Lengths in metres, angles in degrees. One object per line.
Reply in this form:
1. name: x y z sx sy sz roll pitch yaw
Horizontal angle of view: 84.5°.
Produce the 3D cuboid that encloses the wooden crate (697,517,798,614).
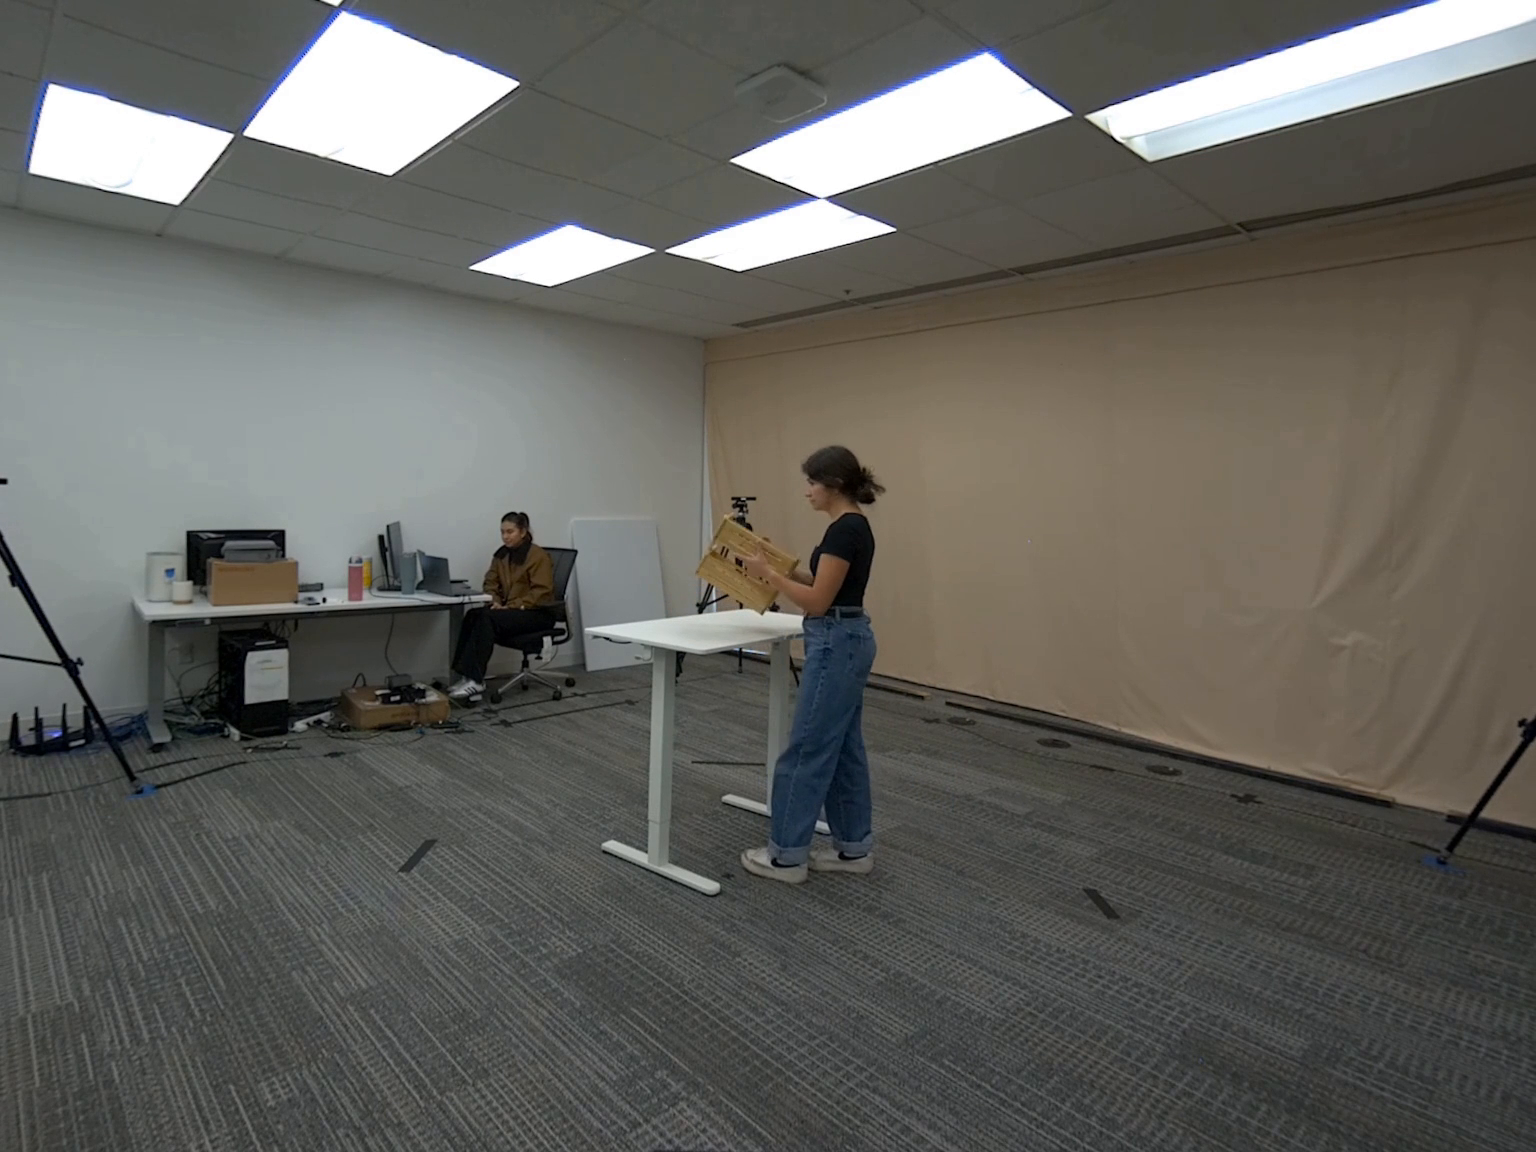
1. wooden crate: -0.071 -0.058 3.207 0.326 0.272 0.302 31 16 4
